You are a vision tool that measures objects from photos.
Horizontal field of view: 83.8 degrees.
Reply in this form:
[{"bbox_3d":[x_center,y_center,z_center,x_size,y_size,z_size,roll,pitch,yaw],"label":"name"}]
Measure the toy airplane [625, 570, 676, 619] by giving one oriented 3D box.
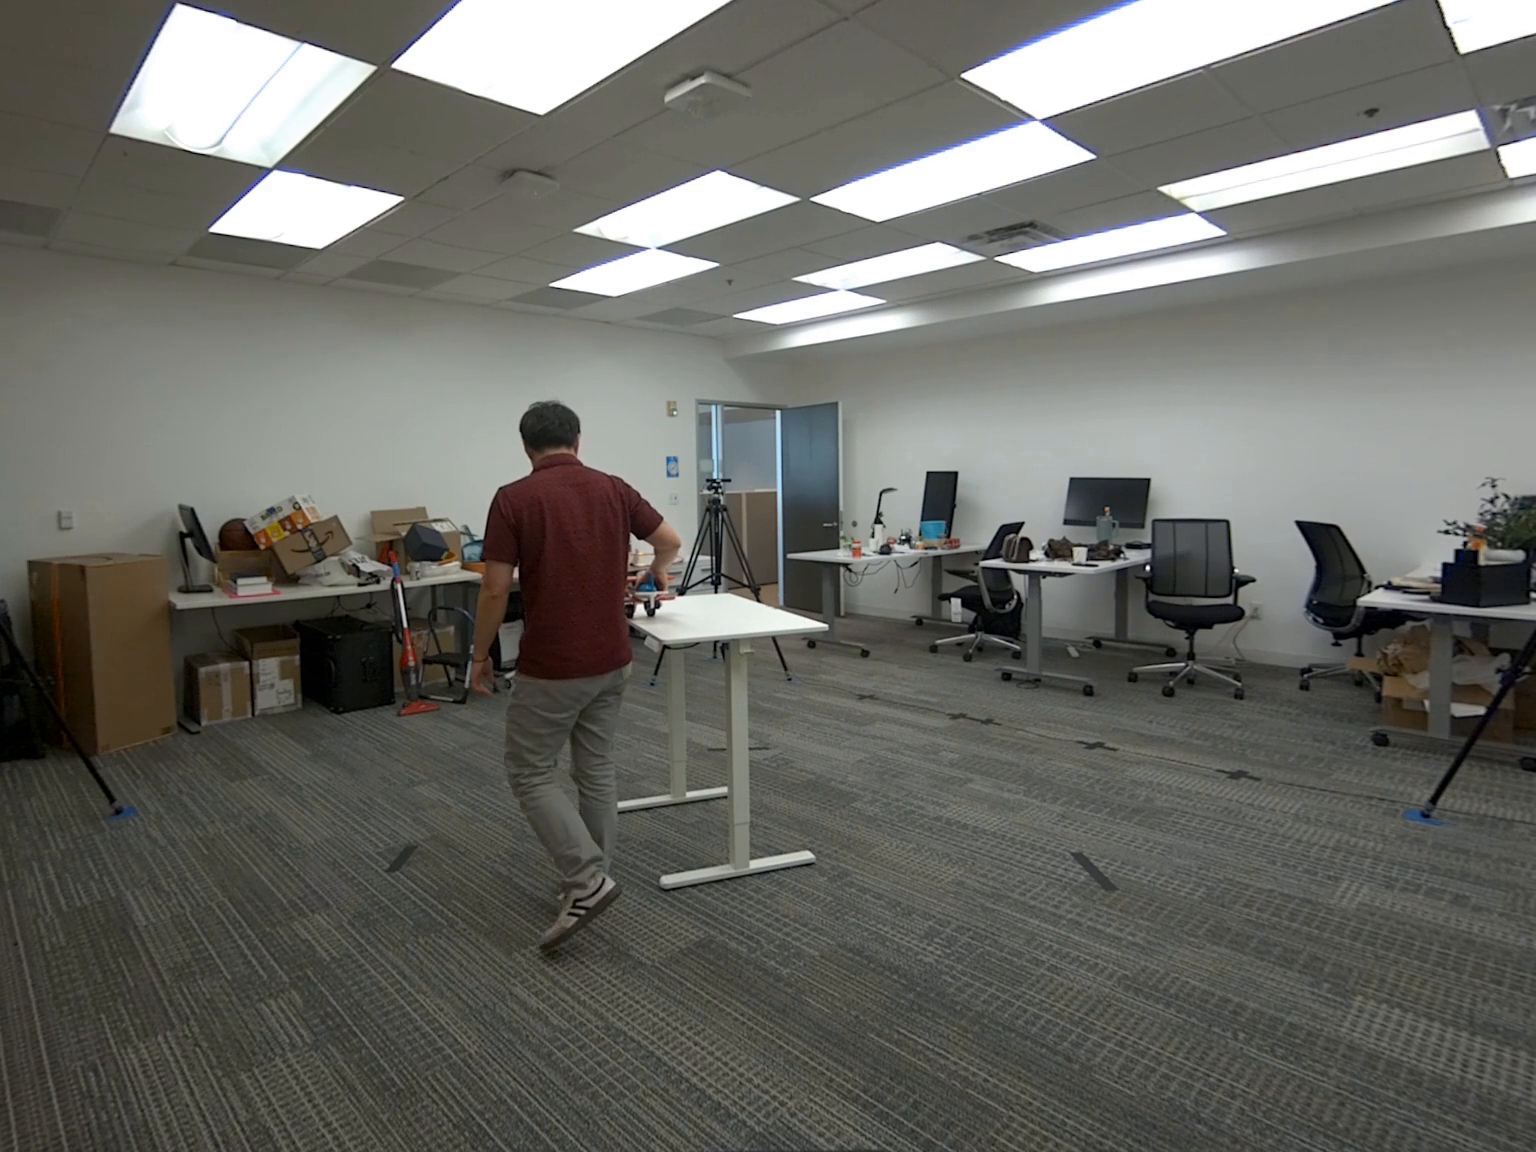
[{"bbox_3d":[-0.450,0.064,3.177,0.264,0.158,0.243,-17,-14,41],"label":"toy airplane"}]
